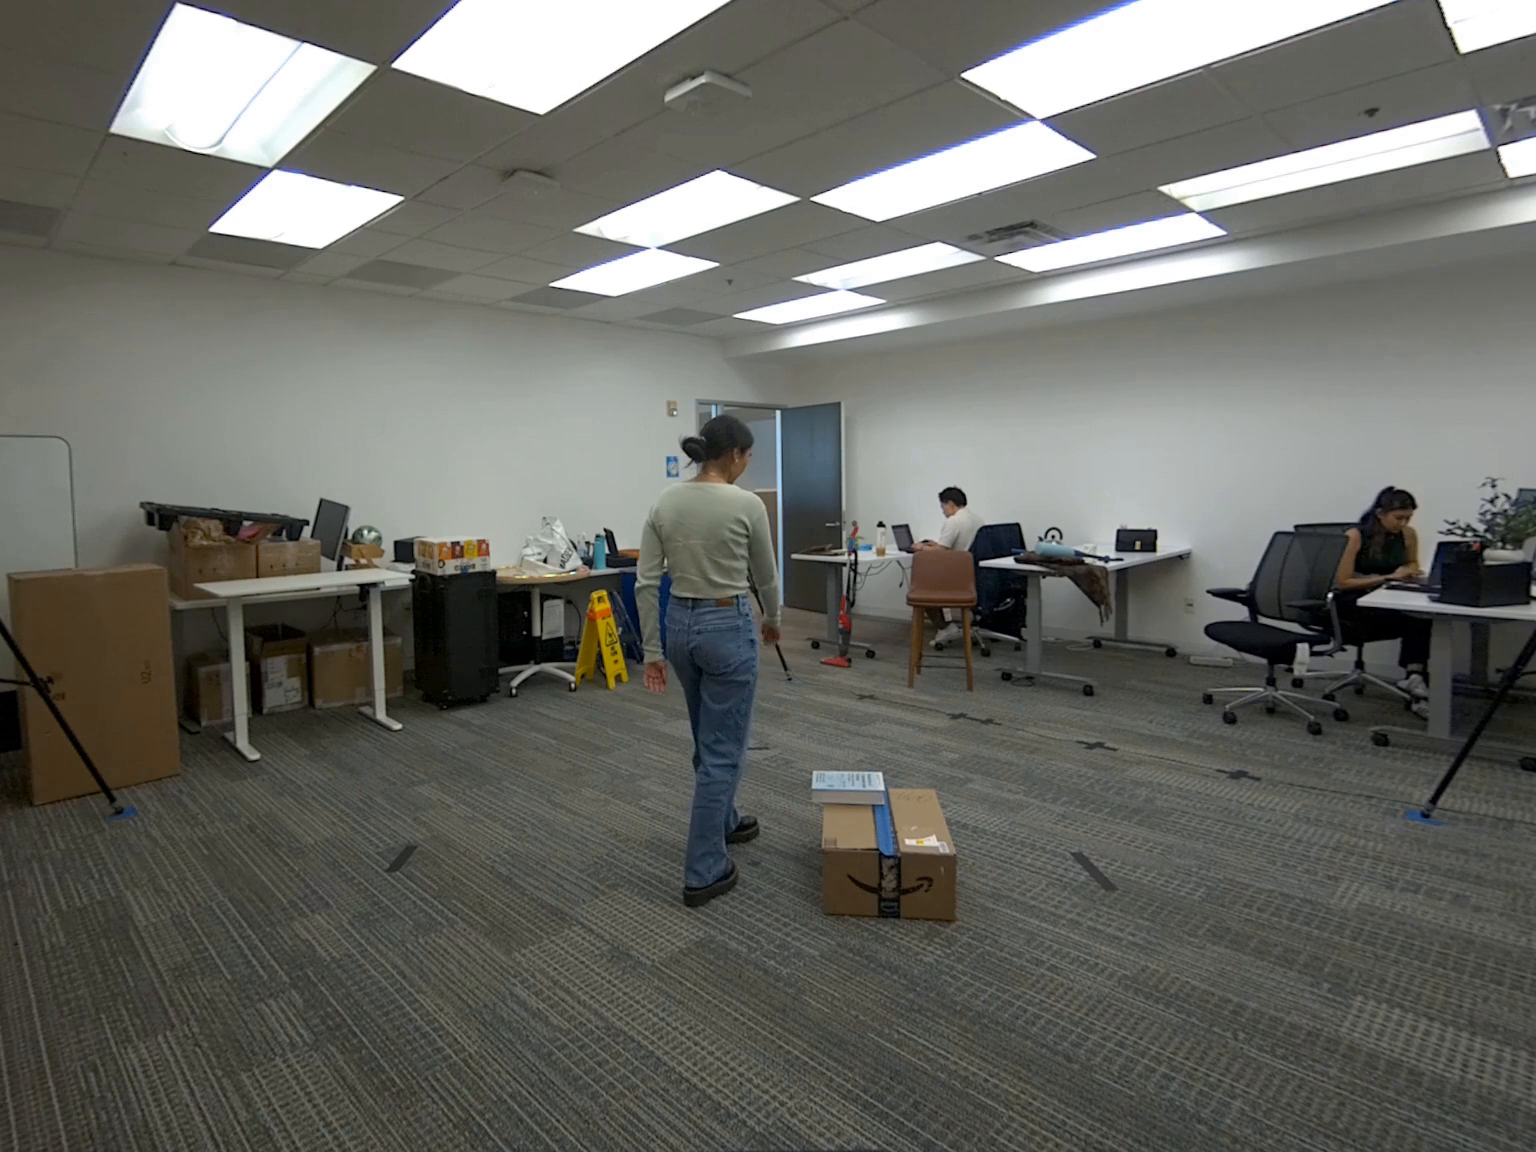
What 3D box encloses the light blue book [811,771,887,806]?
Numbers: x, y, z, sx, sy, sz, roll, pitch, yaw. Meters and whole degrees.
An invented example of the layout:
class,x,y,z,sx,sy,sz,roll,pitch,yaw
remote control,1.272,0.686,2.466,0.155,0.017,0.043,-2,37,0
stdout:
class,x,y,z,sx,sy,sz,roll,pitch,yaw
light blue book,0.294,0.778,3.170,0.263,0.059,0.191,-1,7,6
